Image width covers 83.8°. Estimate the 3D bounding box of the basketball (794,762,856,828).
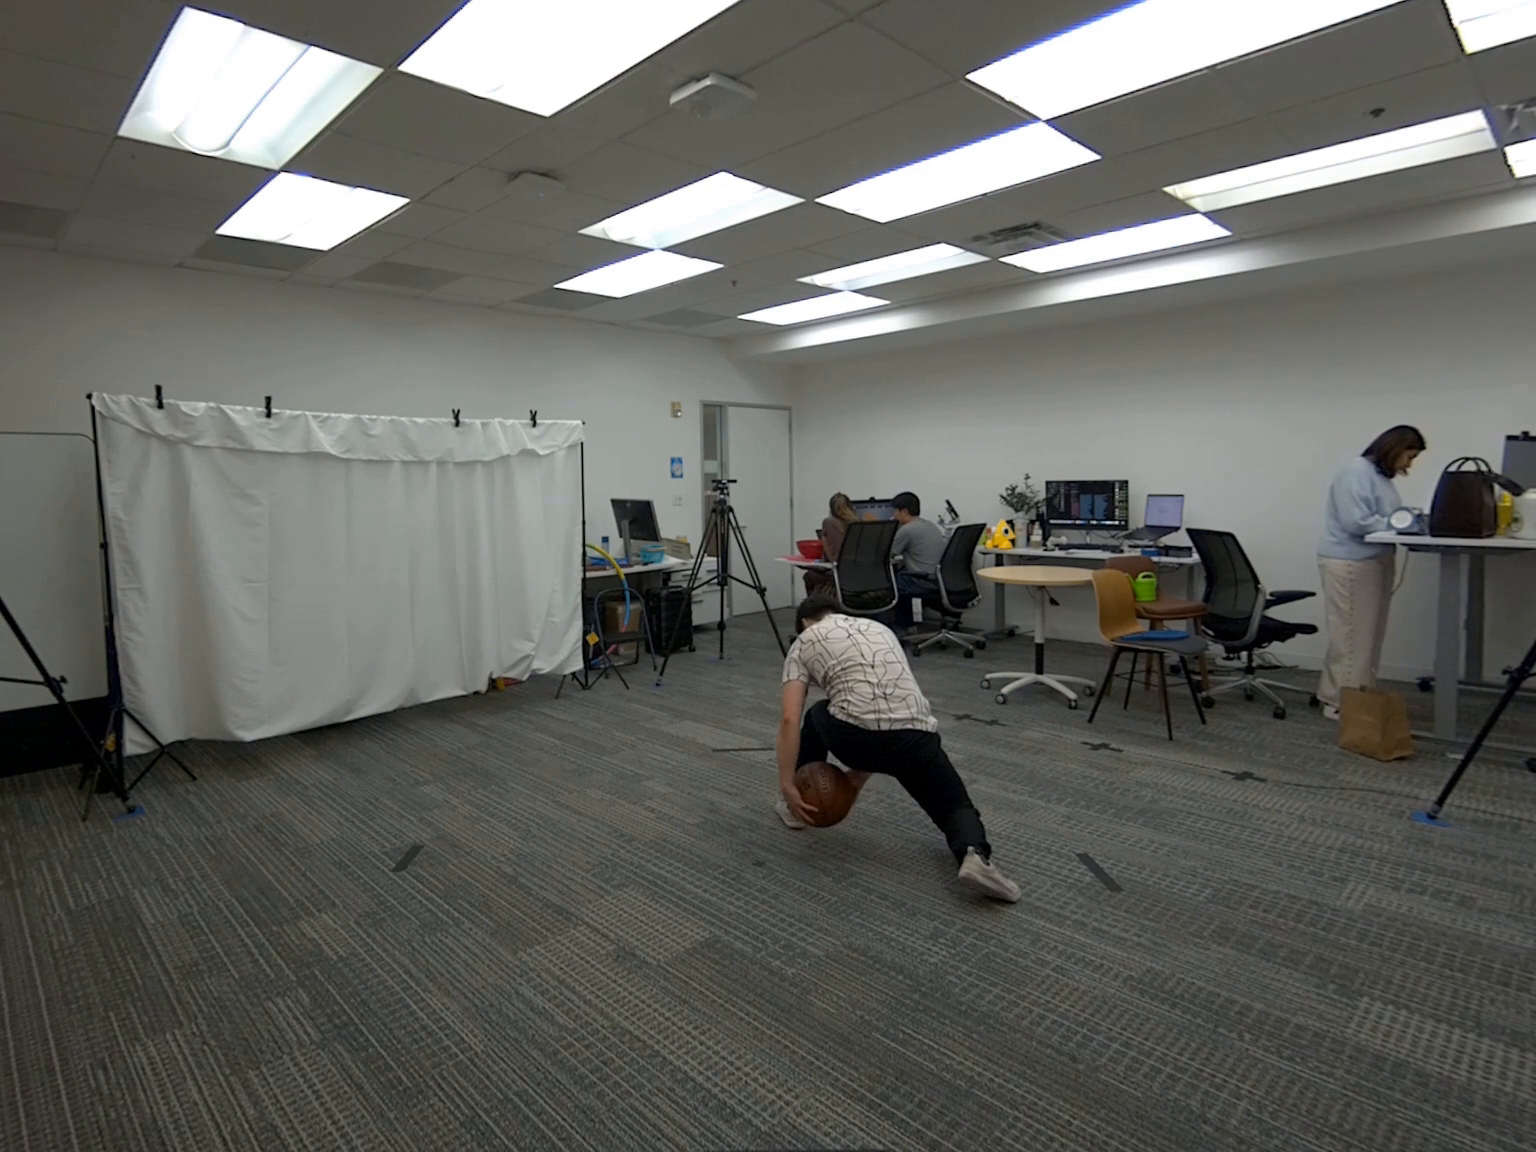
[{"bbox_3d":[0.200,0.804,3.206,0.236,0.235,0.237,-1,5,-2],"label":"basketball"}]
